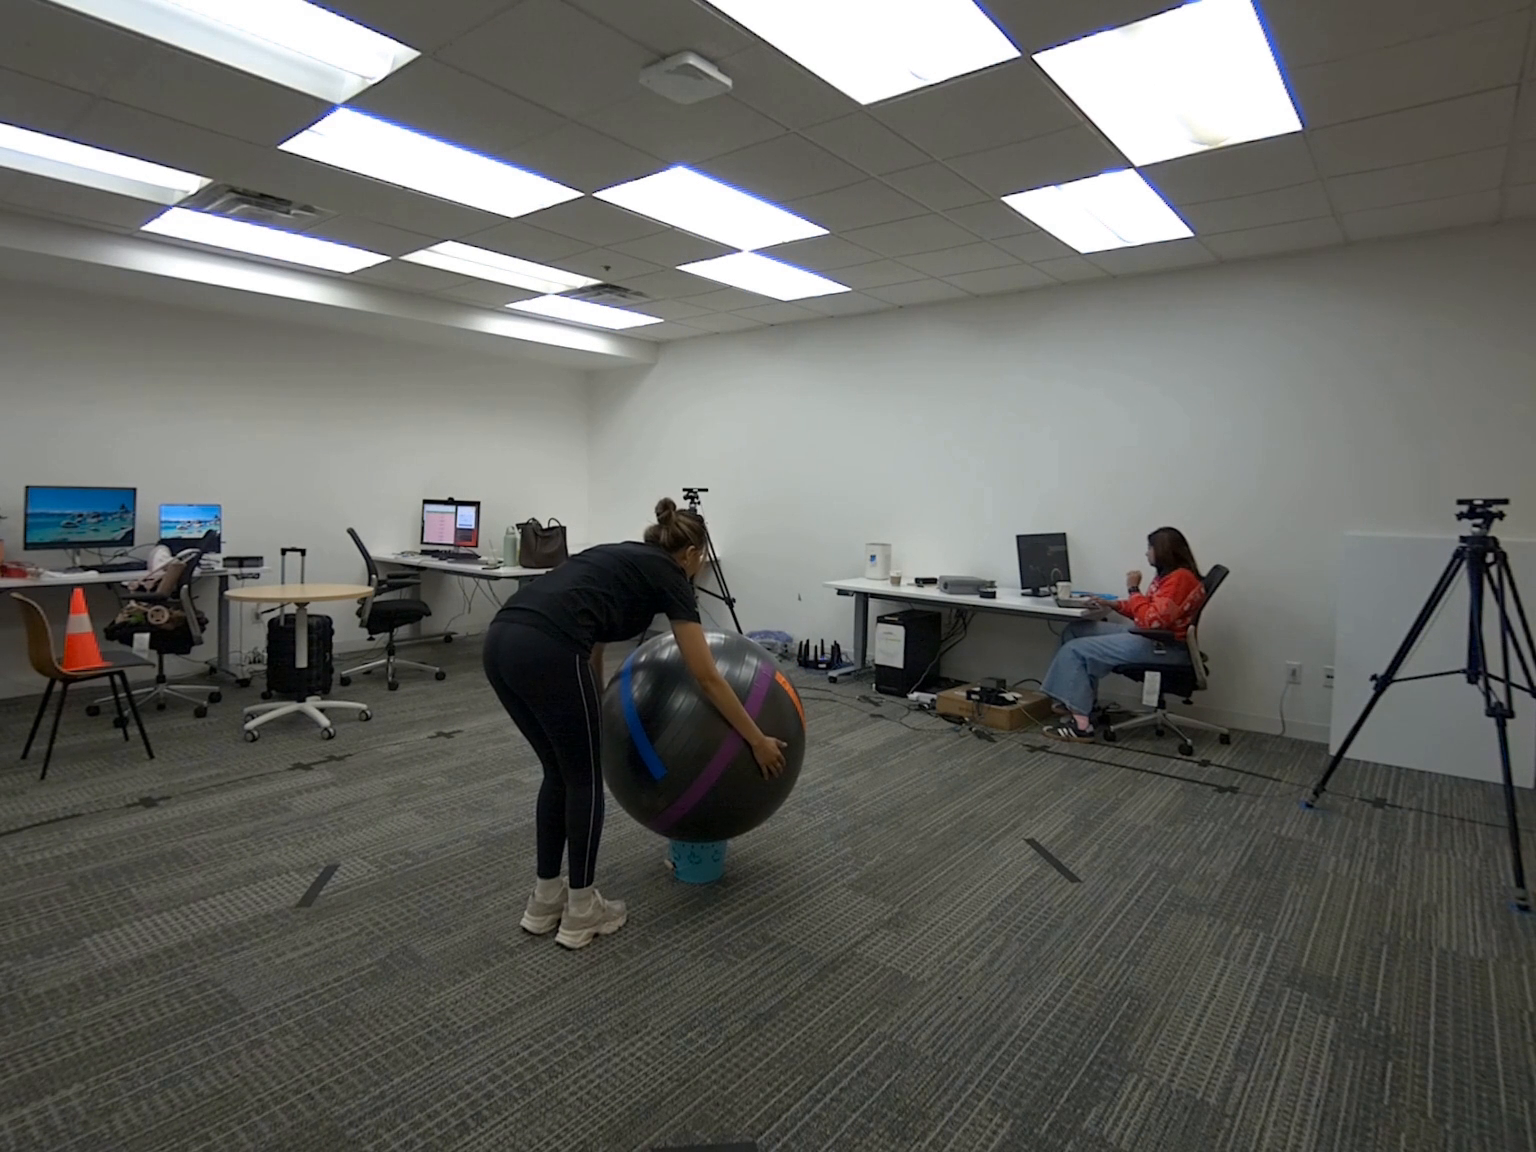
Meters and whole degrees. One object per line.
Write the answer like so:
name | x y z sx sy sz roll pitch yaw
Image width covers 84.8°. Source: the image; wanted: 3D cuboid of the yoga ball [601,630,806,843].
yoga ball | -0.249 0.564 3.073 0.757 0.756 0.762 1 4 -2
